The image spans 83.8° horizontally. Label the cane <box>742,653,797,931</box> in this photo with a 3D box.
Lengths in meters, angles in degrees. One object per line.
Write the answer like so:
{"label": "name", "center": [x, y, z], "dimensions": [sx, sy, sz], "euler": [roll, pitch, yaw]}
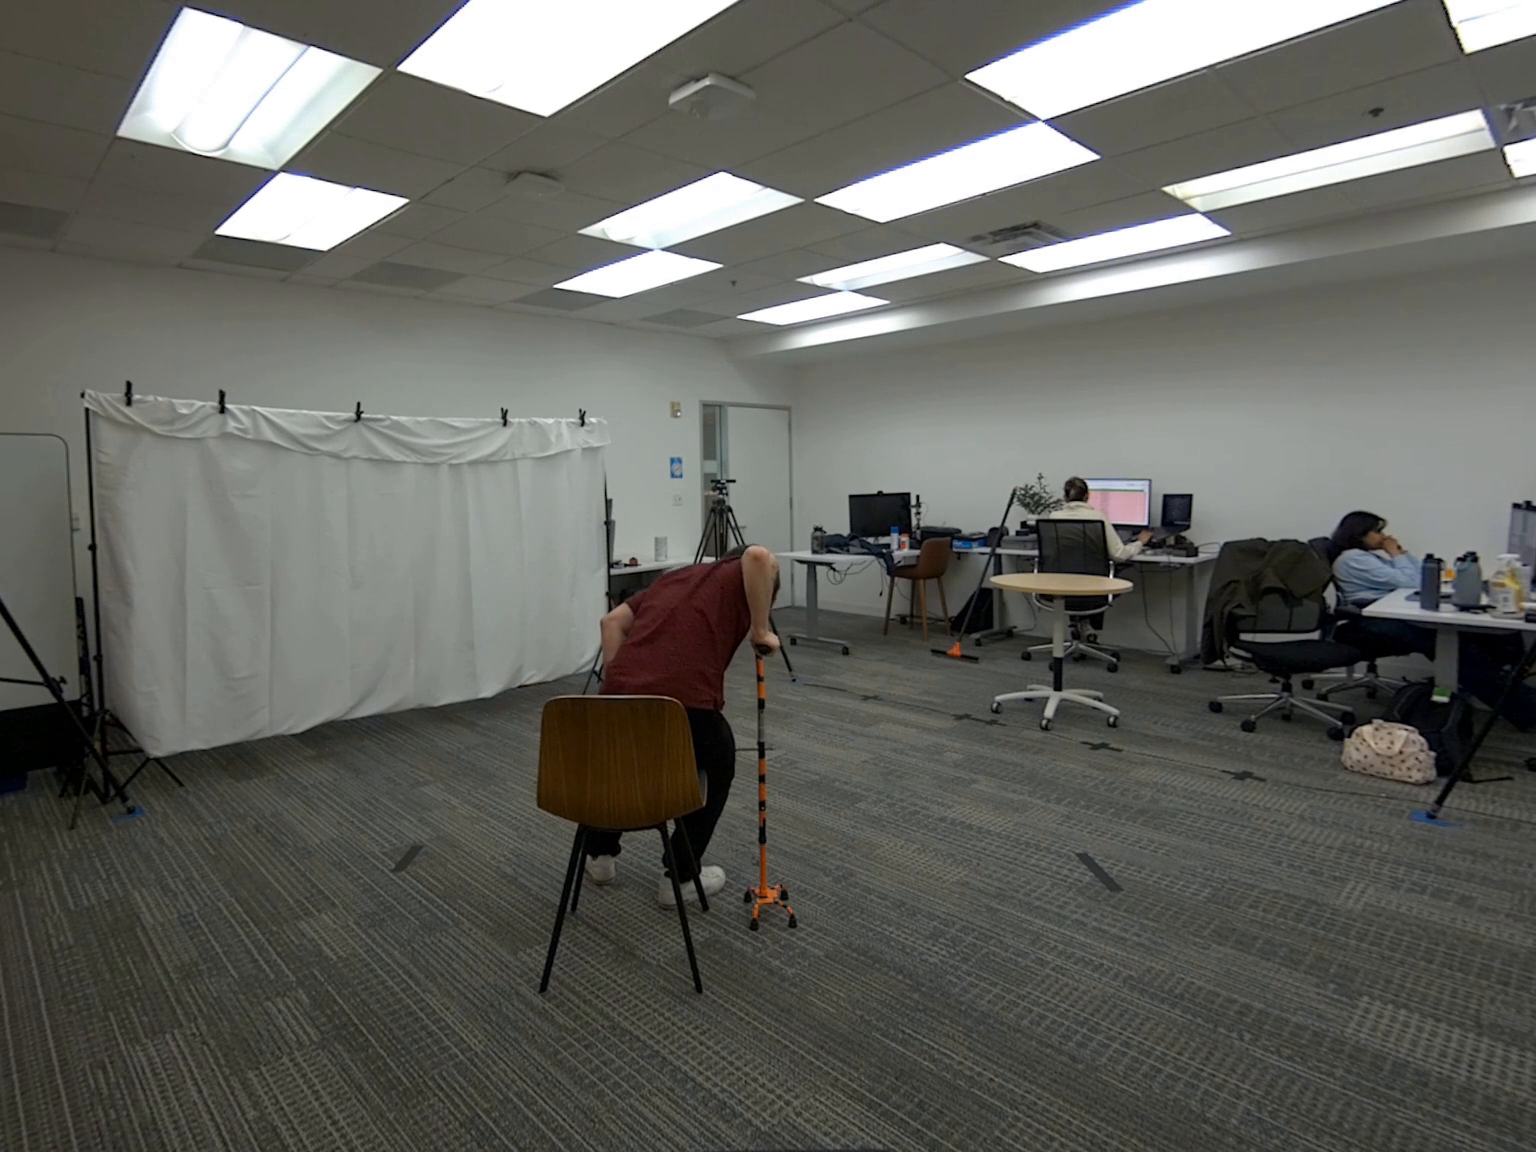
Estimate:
{"label": "cane", "center": [0.000, 0.645, 2.718], "dimensions": [0.151, 0.904, 0.208], "euler": [-1, 4, -7]}
